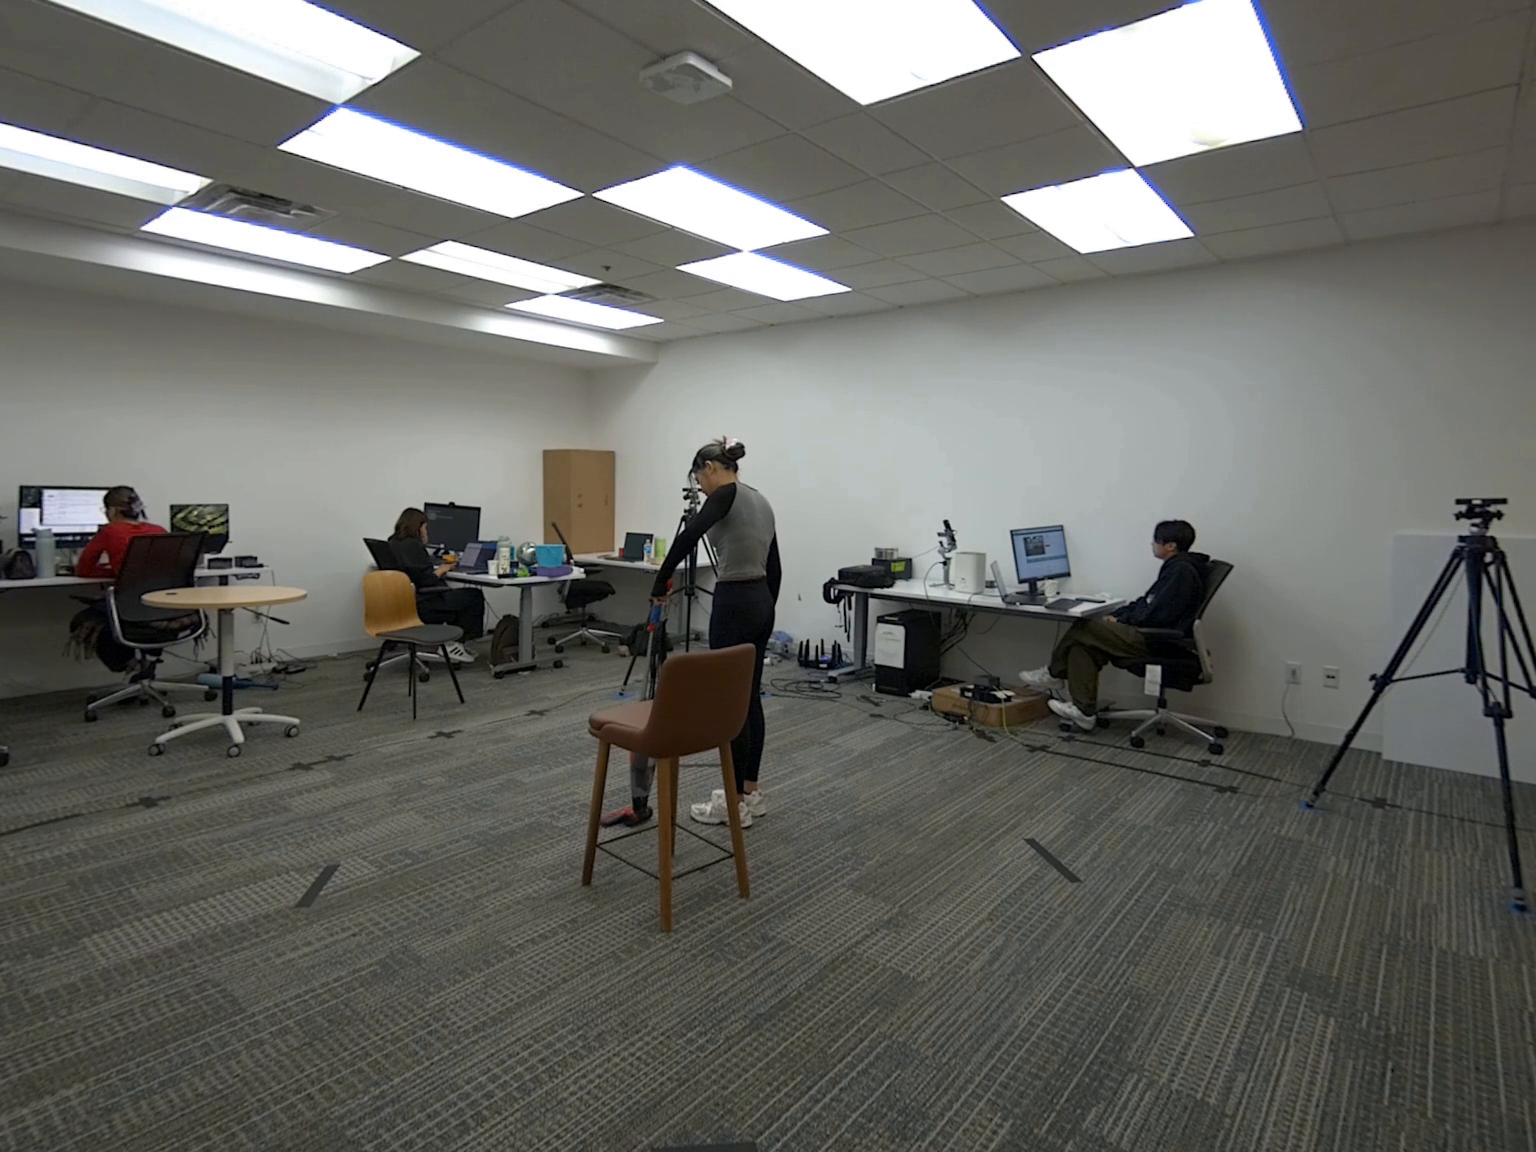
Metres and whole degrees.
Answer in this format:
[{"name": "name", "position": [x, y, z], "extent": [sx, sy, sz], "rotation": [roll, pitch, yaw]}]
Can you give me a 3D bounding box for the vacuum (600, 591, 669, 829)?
[{"name": "vacuum", "position": [-0.497, 0.522, 3.470], "extent": [0.149, 1.040, 0.246], "rotation": [16, 12, 29]}]
